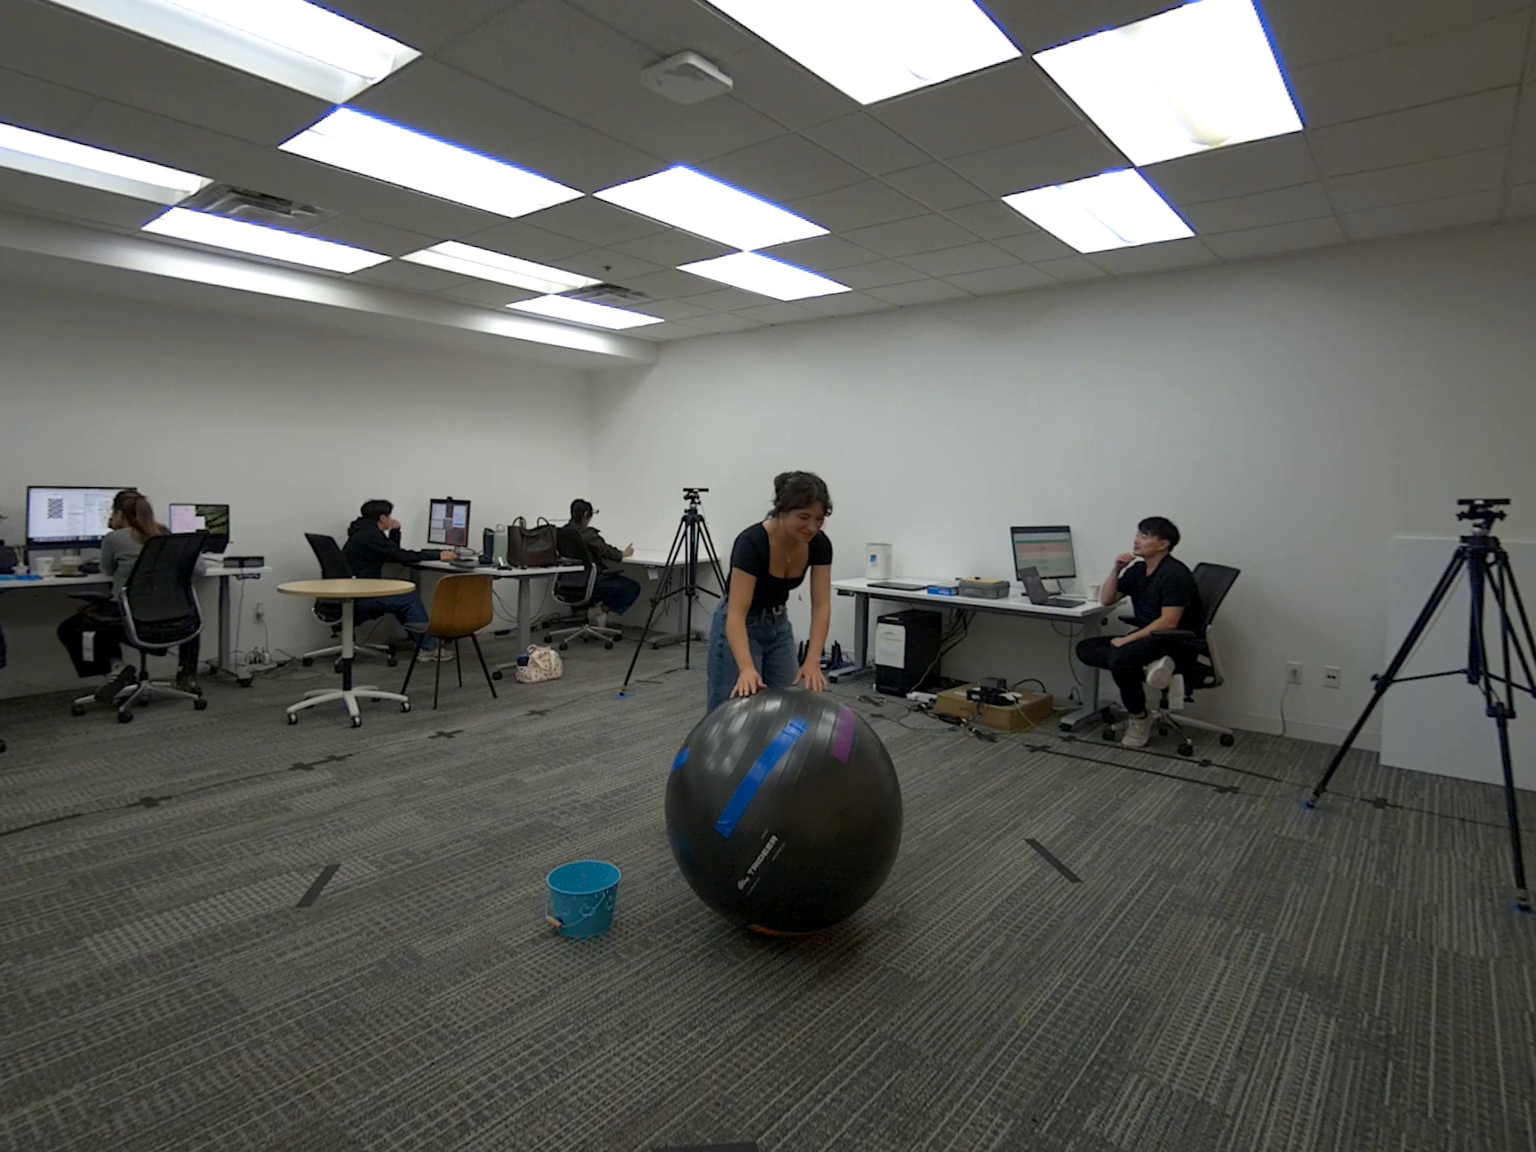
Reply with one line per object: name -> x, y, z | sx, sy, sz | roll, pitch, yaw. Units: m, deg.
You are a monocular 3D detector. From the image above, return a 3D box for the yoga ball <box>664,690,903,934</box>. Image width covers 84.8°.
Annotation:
yoga ball -> 0.038, 0.741, 2.739 | 0.757, 0.756, 0.762 | 1, 4, -2
